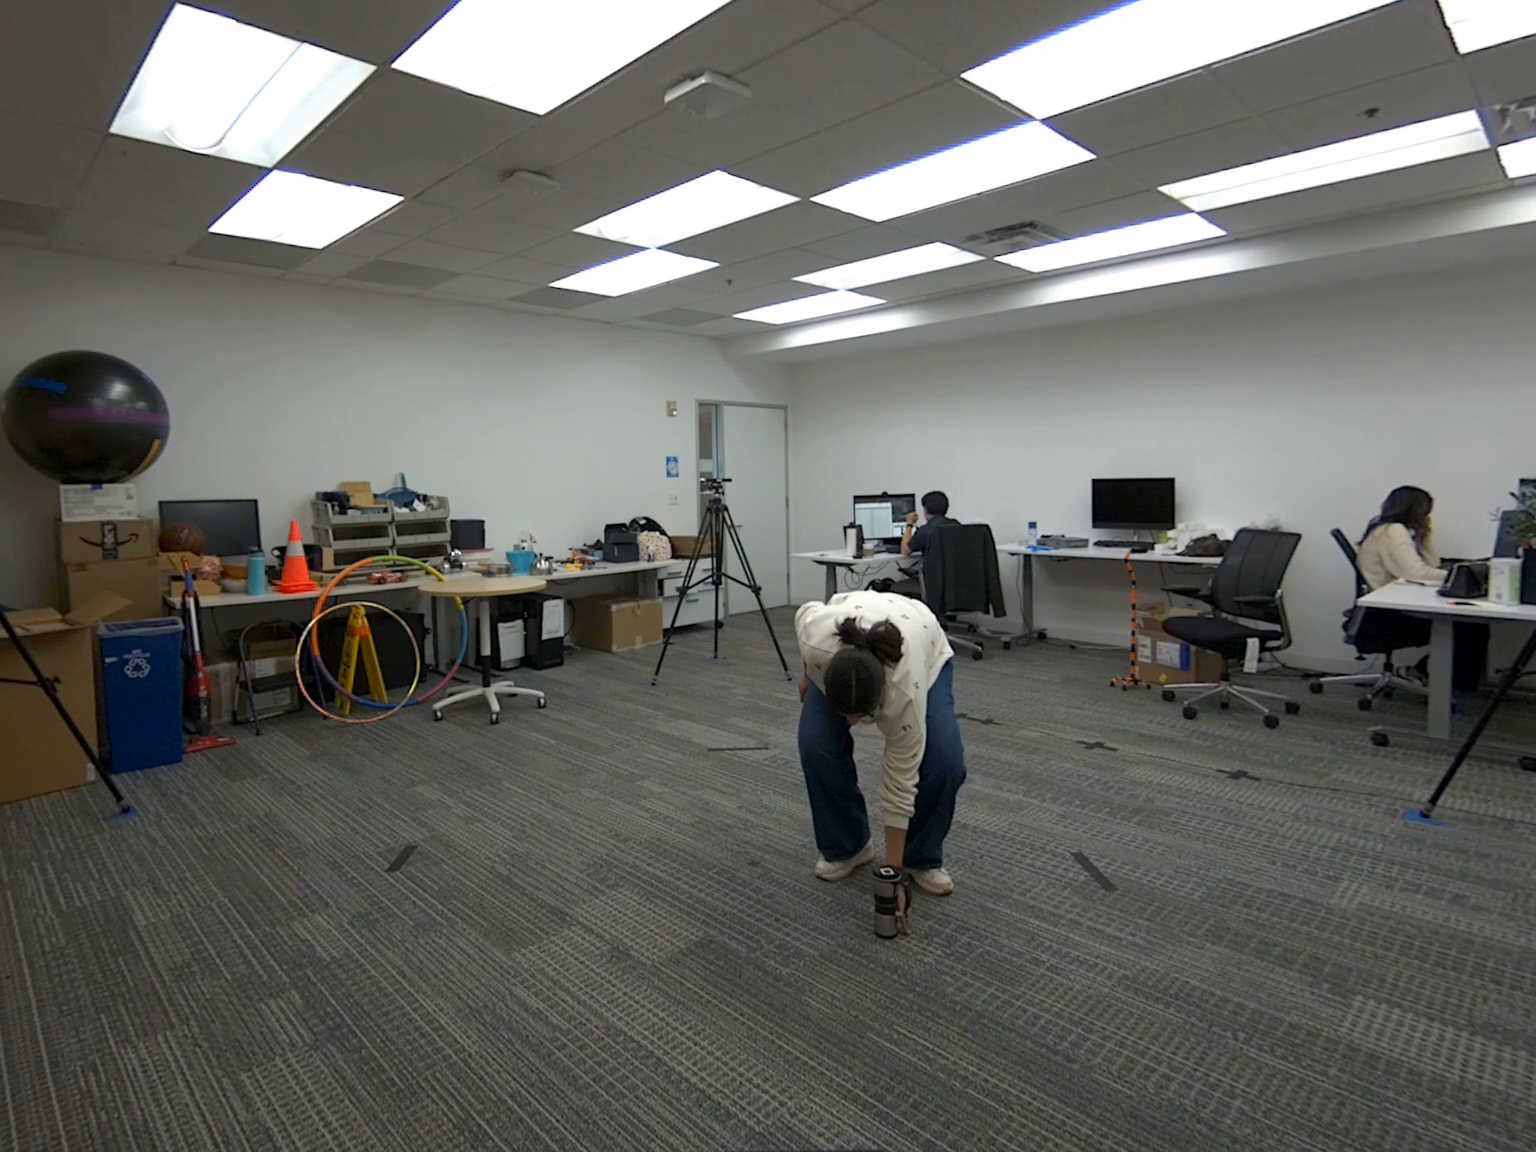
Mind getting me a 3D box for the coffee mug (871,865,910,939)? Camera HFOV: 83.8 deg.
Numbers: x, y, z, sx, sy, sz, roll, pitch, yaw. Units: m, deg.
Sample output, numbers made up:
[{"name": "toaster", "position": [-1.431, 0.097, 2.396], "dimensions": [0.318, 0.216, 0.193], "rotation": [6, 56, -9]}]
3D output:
[{"name": "coffee mug", "position": [0.376, 1.006, 2.586], "dimensions": [0.085, 0.203, 0.125], "rotation": [0, 1, -43]}]
